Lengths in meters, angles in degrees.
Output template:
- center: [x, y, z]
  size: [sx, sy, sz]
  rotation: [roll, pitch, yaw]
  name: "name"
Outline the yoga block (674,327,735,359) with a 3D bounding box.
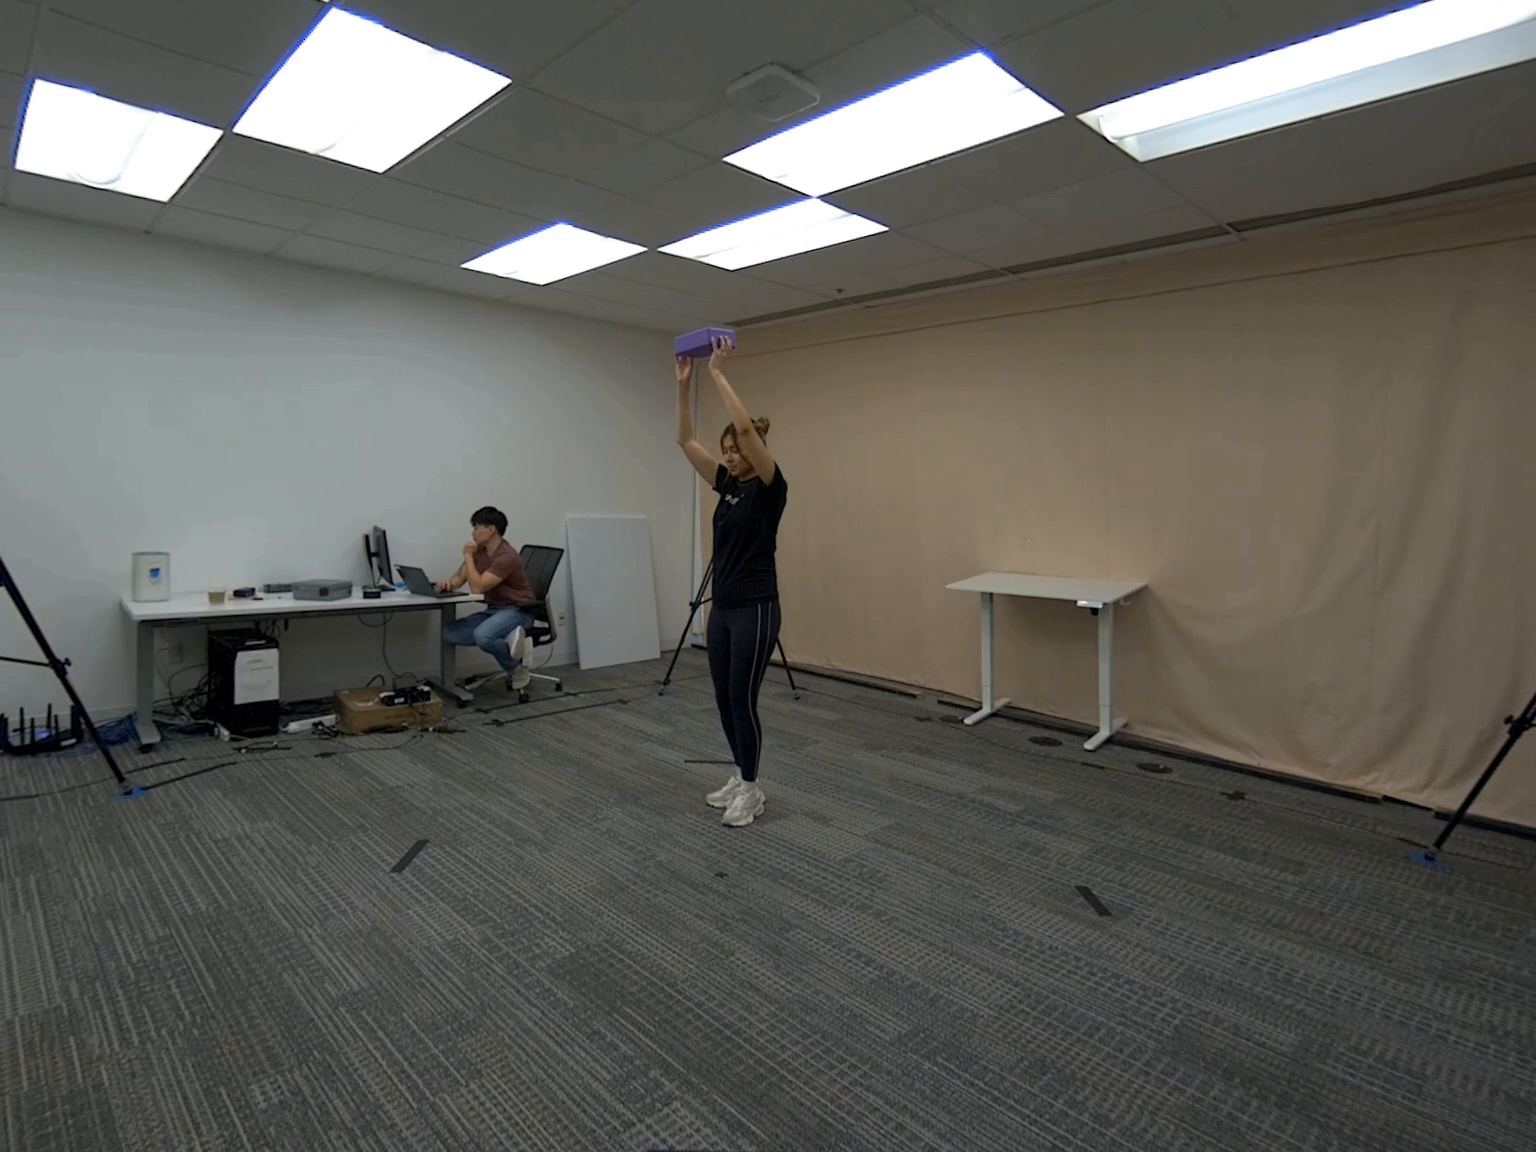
- center: [-0.273, -0.972, 3.500]
  size: [0.146, 0.076, 0.235]
  rotation: [-9, 6, -43]
  name: "yoga block"
